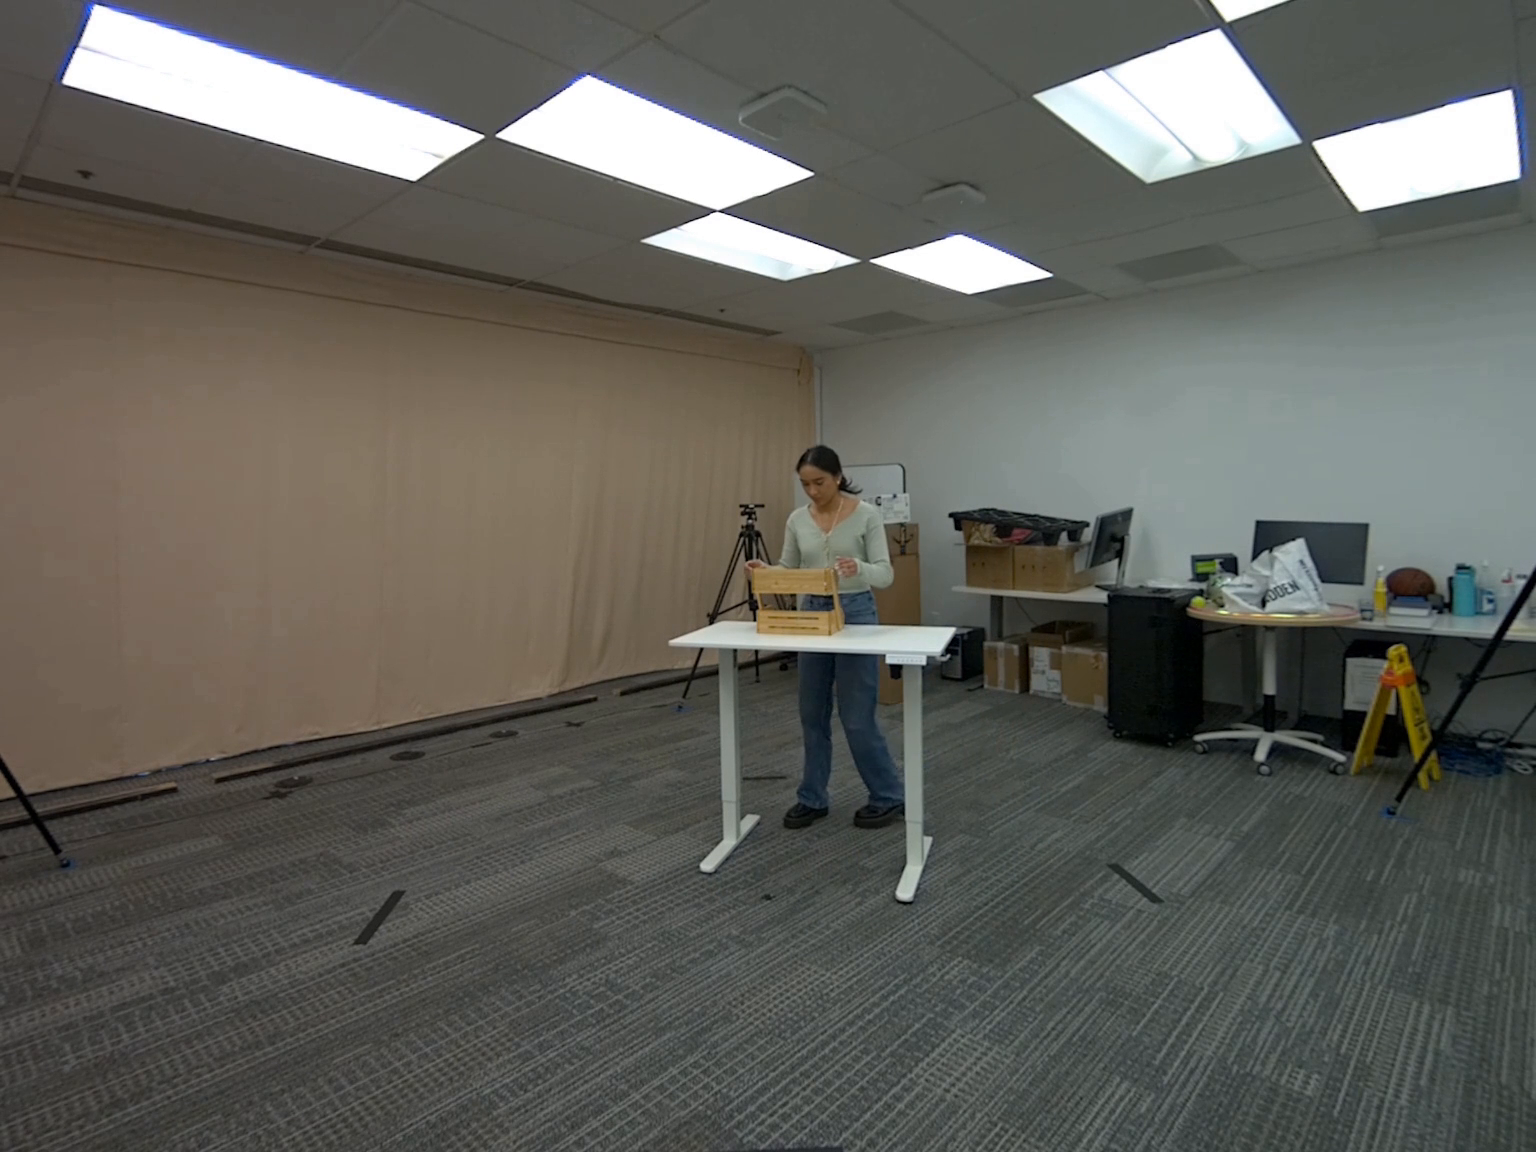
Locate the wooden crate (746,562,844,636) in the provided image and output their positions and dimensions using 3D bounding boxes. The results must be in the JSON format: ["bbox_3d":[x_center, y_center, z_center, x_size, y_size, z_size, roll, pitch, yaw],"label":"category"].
[{"bbox_3d":[0.125,0.093,3.376,0.331,0.273,0.297,0,4,18],"label":"wooden crate"}]
